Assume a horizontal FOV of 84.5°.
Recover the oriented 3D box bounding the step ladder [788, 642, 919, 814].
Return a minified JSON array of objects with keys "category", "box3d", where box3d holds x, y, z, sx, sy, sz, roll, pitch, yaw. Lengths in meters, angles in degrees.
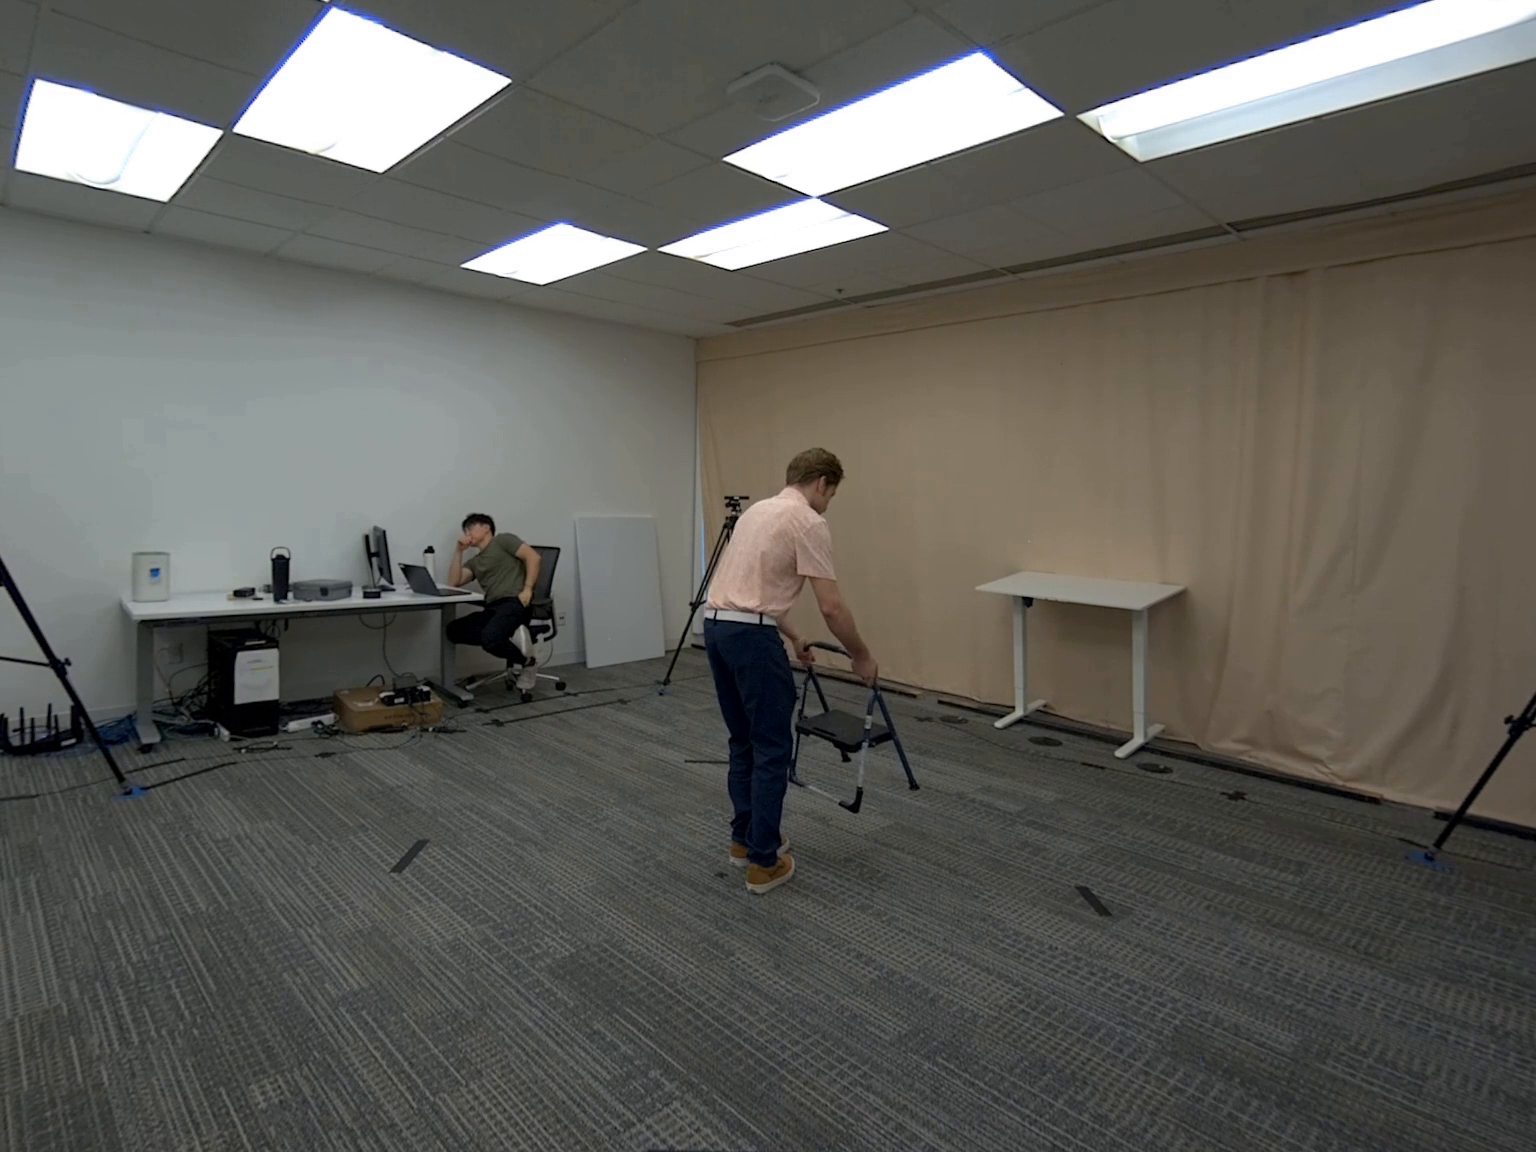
[{"category":"step ladder","box3d":[0.309,0.558,3.398,0.343,0.602,0.441,-10,11,-36]}]
